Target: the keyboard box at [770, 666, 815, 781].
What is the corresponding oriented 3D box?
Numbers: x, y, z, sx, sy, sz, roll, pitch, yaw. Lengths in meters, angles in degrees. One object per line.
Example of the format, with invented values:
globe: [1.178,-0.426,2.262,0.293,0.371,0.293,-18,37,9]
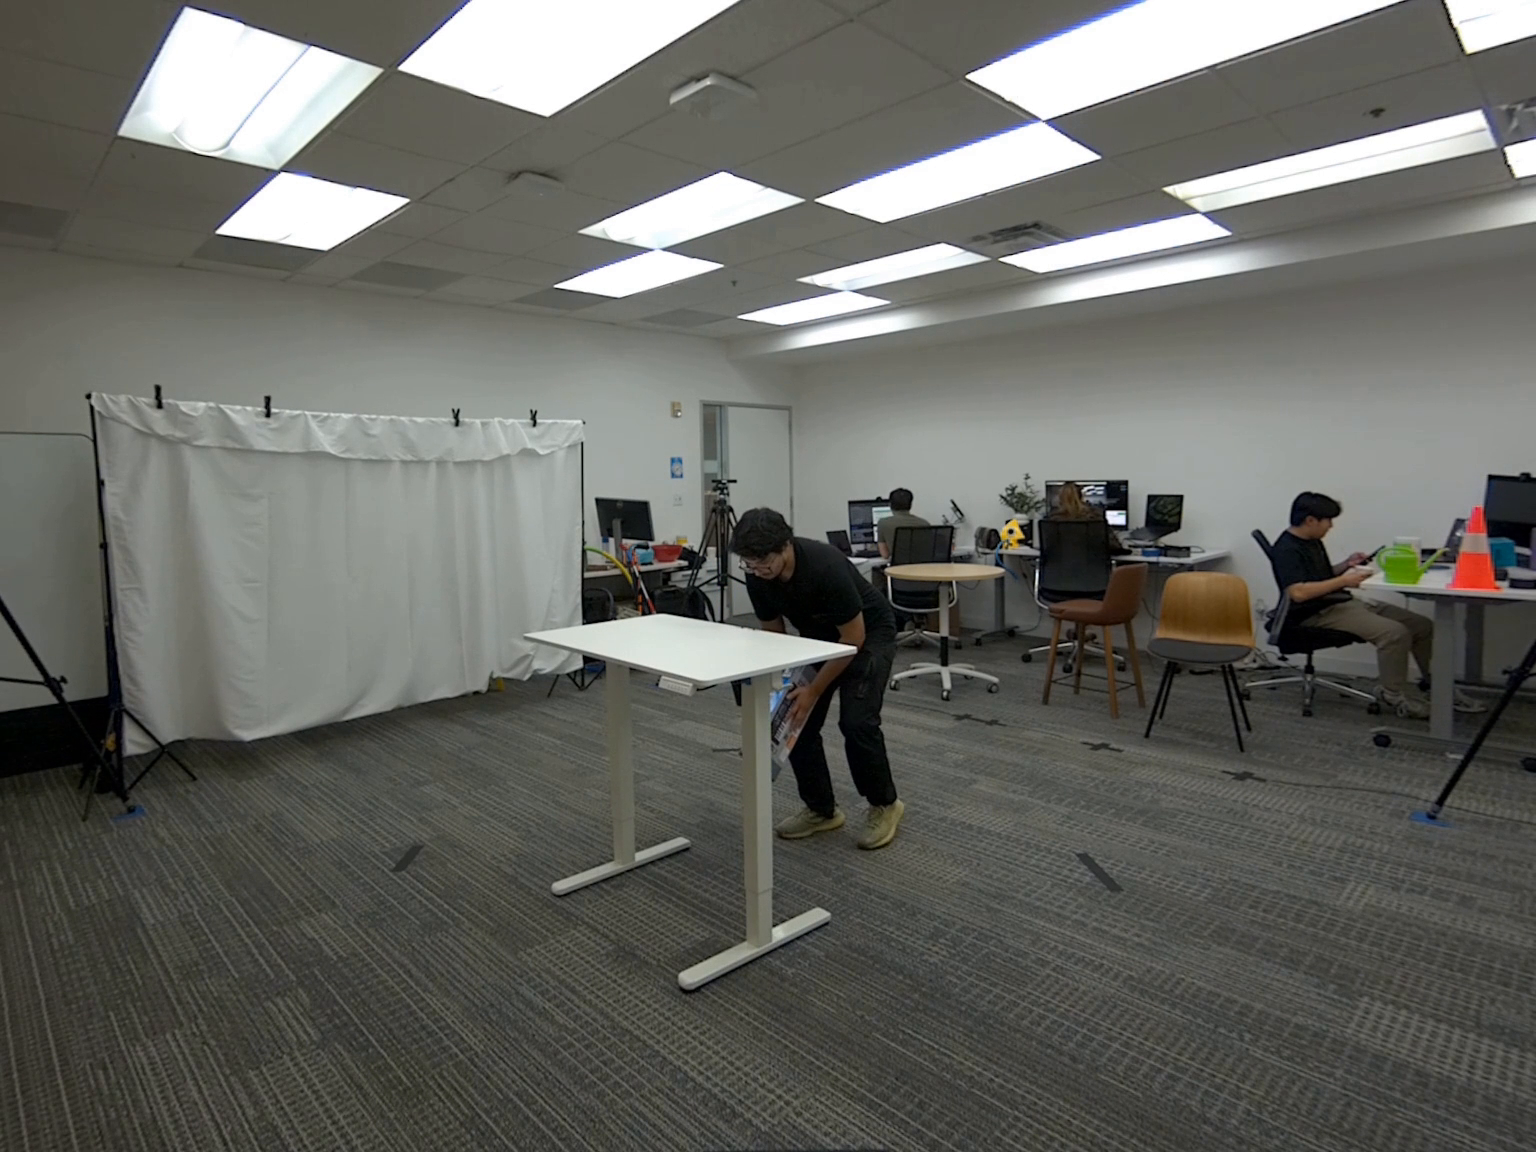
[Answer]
keyboard box: [0.066,0.526,3.135,0.061,0.439,0.170,-4,-44,48]
